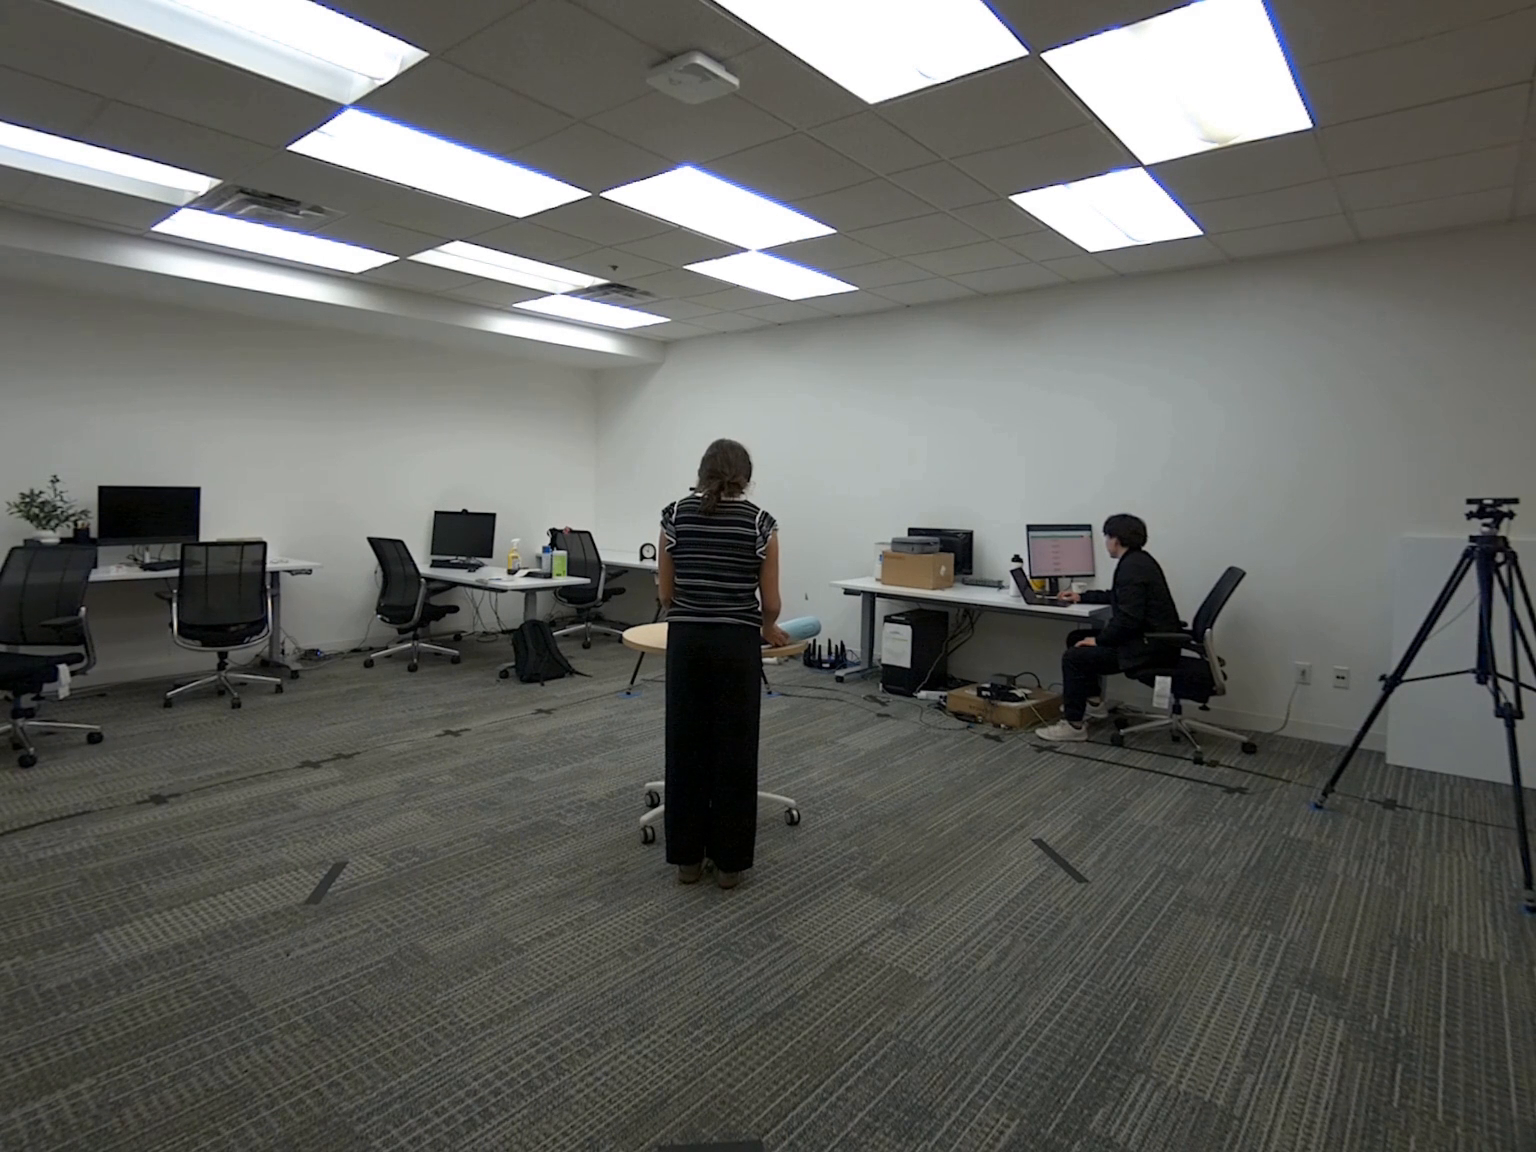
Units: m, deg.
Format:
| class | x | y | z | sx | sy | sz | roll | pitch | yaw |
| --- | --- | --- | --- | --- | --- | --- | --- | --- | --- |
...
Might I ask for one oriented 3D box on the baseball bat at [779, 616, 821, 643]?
| class | x | y | z | sx | sy | sz | roll | pitch | yaw |
| --- | --- | --- | --- | --- | --- | --- | --- | --- | --- |
| baseball bat | -0.015 | 0.238 | 3.289 | 0.092 | 0.088 | 0.529 | 5 | 13 | 45 |
